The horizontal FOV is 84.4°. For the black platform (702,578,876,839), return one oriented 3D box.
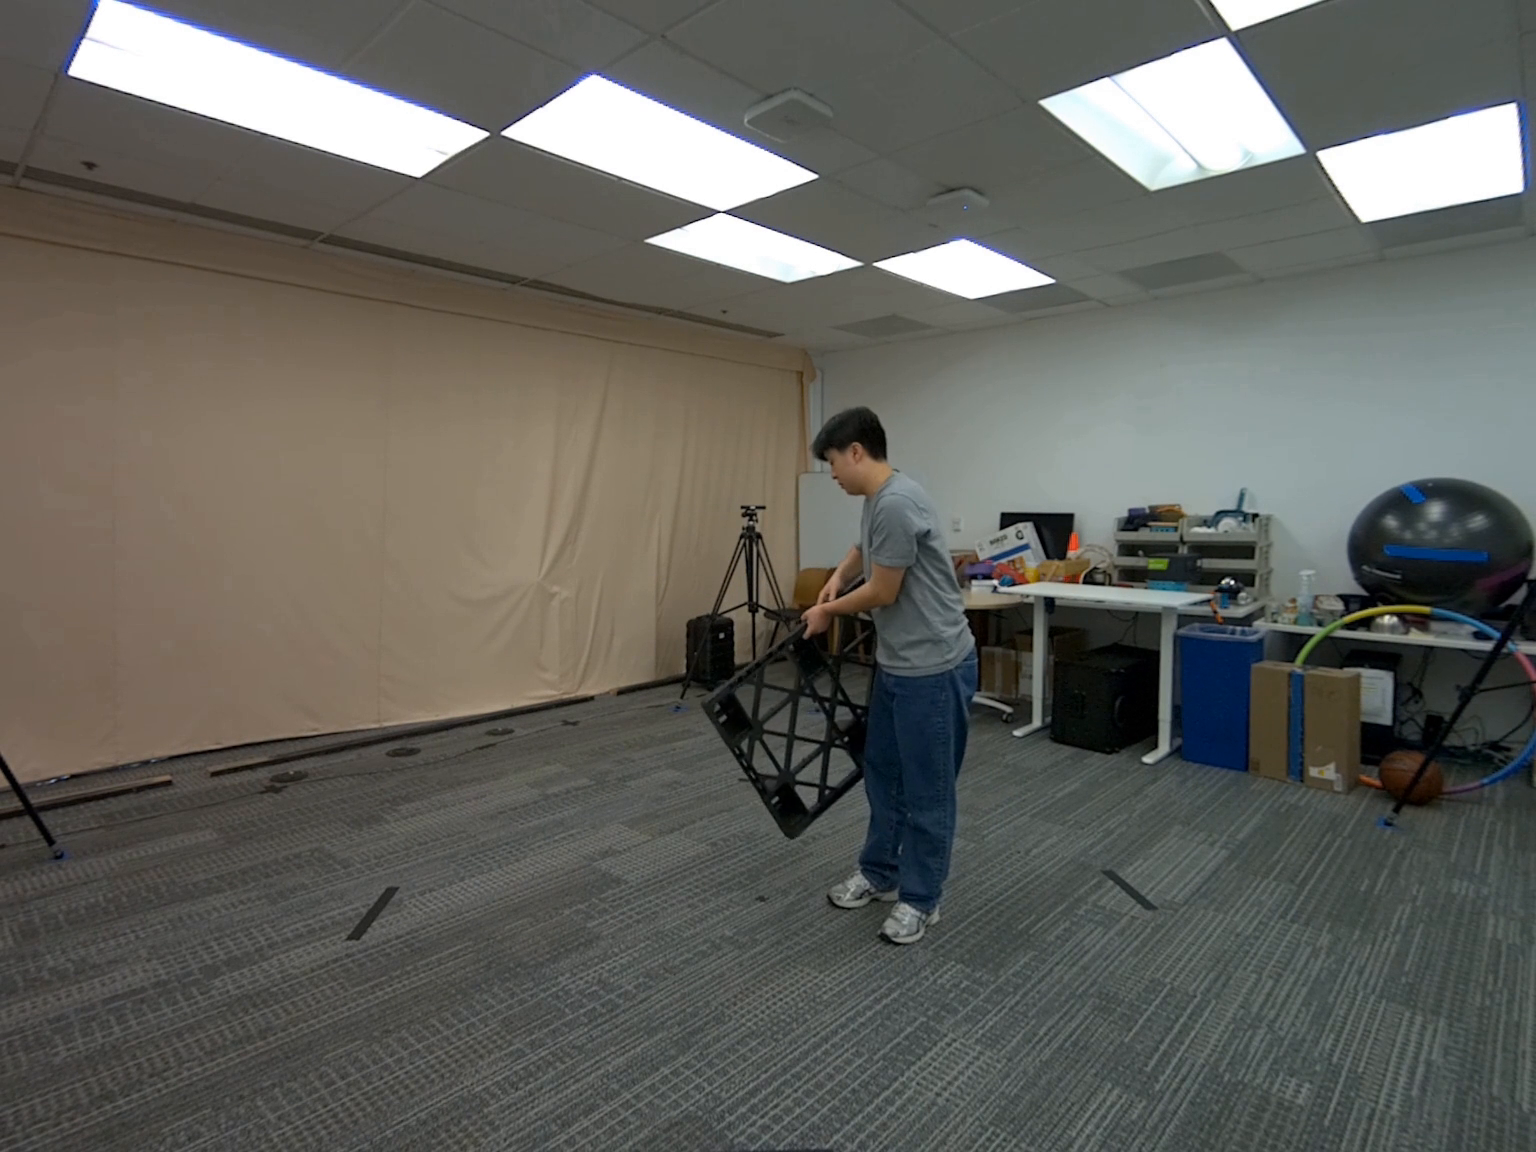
[{"bbox_3d":[0.203,0.437,2.978,0.798,0.596,0.146,-36,14,-17],"label":"black platform"}]
